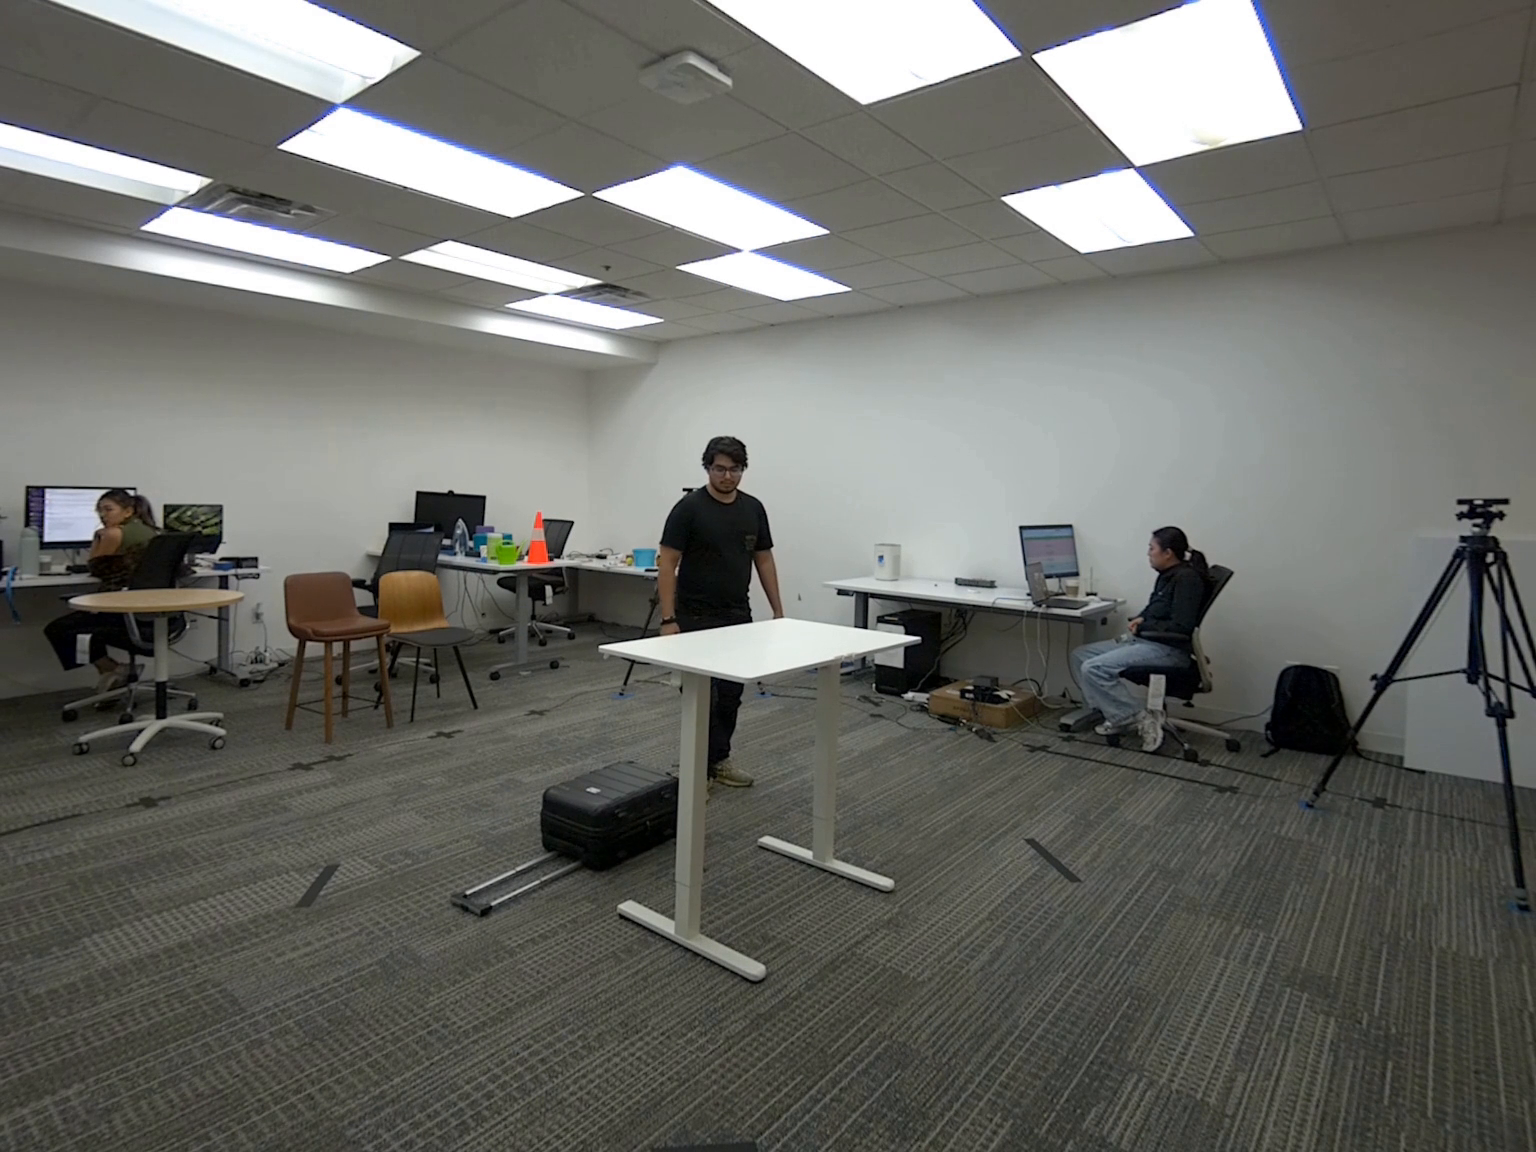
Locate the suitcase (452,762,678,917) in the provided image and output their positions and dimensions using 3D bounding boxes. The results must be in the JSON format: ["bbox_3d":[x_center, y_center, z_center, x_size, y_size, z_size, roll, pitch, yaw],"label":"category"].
[{"bbox_3d":[-0.726,0.930,3.164,0.396,0.256,0.950,6,6,34],"label":"suitcase"}]
